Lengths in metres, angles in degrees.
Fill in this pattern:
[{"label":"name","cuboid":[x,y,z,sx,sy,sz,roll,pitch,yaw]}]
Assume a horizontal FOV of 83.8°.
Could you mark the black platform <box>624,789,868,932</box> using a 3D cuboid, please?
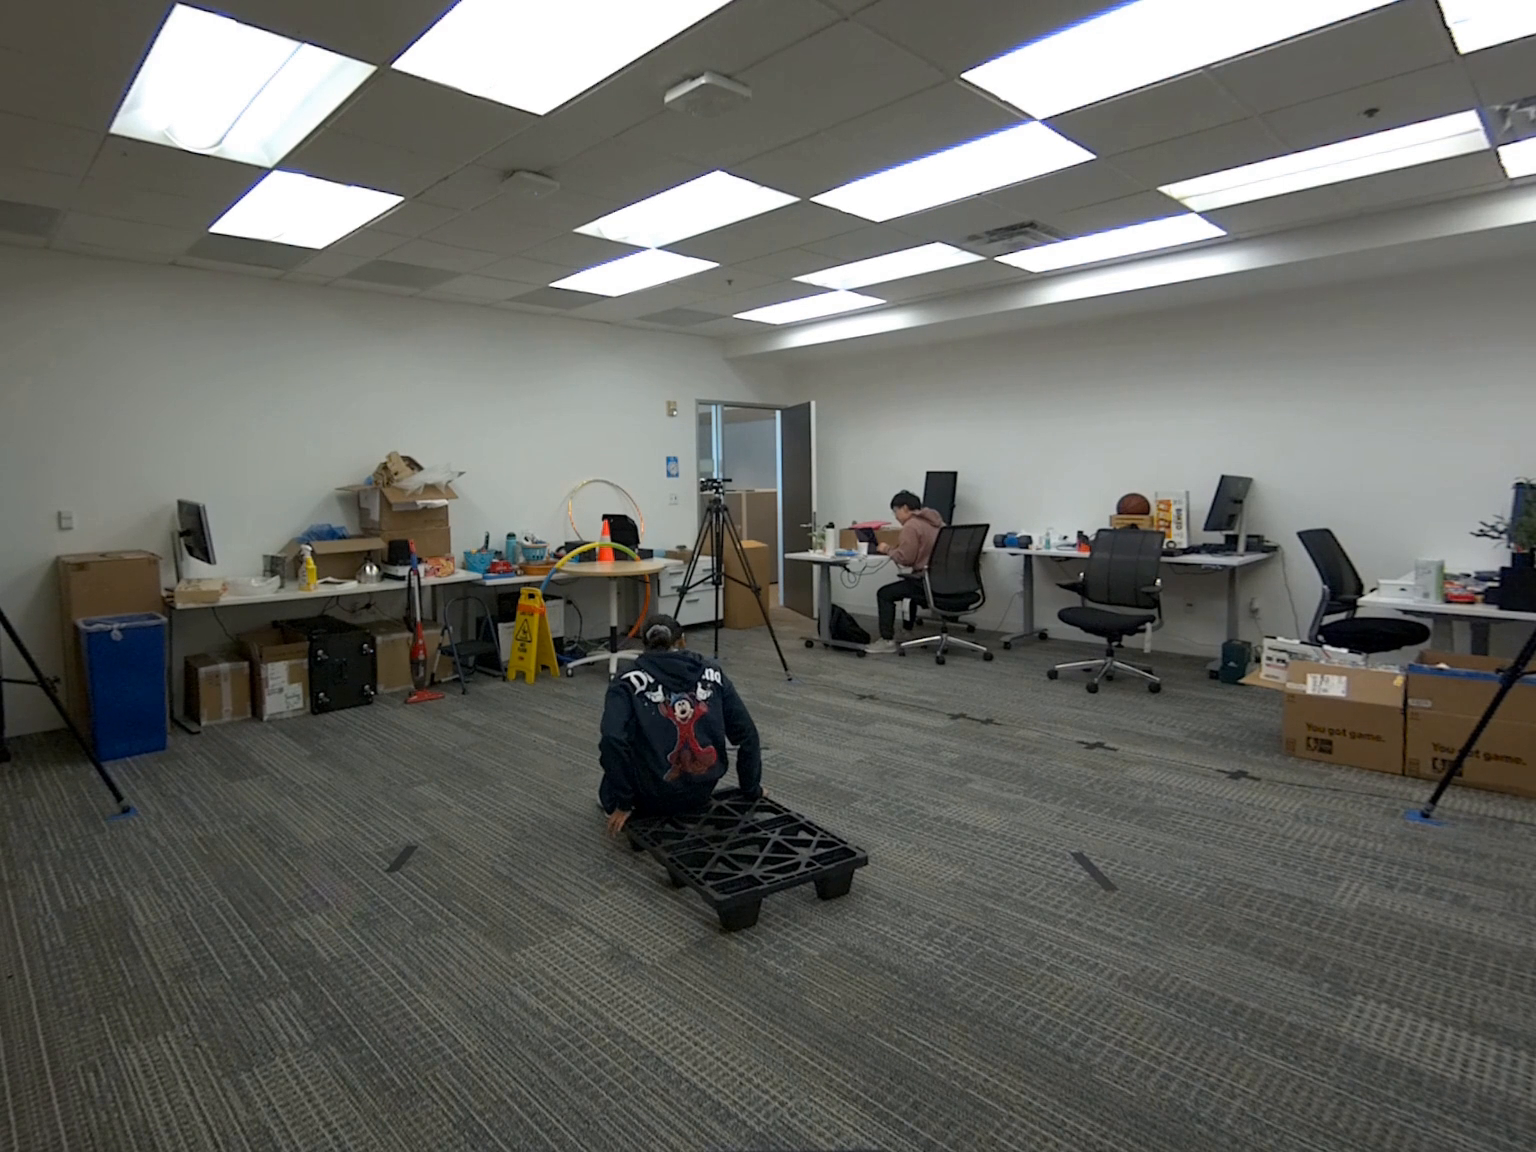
[{"label":"black platform","cuboid":[-0.116,0.986,3.049,0.591,0.143,0.828,-5,7,-31]}]
